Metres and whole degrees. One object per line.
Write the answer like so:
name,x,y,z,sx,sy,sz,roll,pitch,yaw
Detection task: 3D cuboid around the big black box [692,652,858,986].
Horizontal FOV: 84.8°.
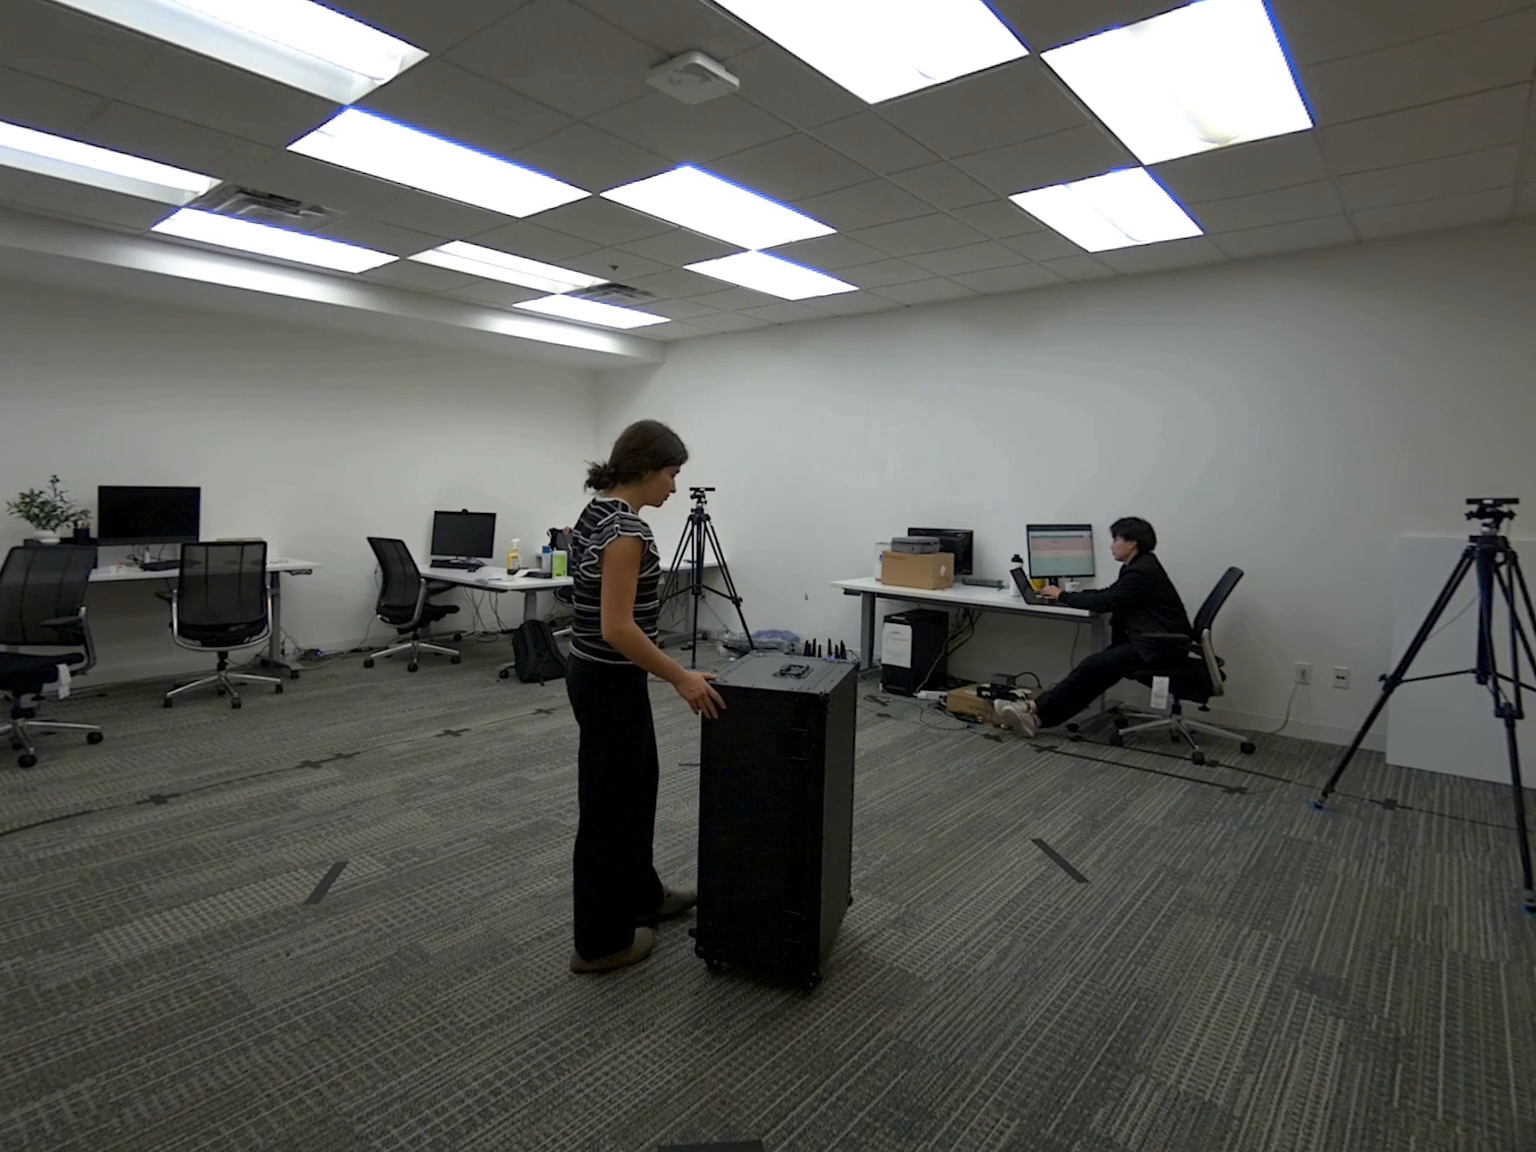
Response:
big black box,0.018,0.706,2.536,0.404,0.858,0.513,2,4,17
